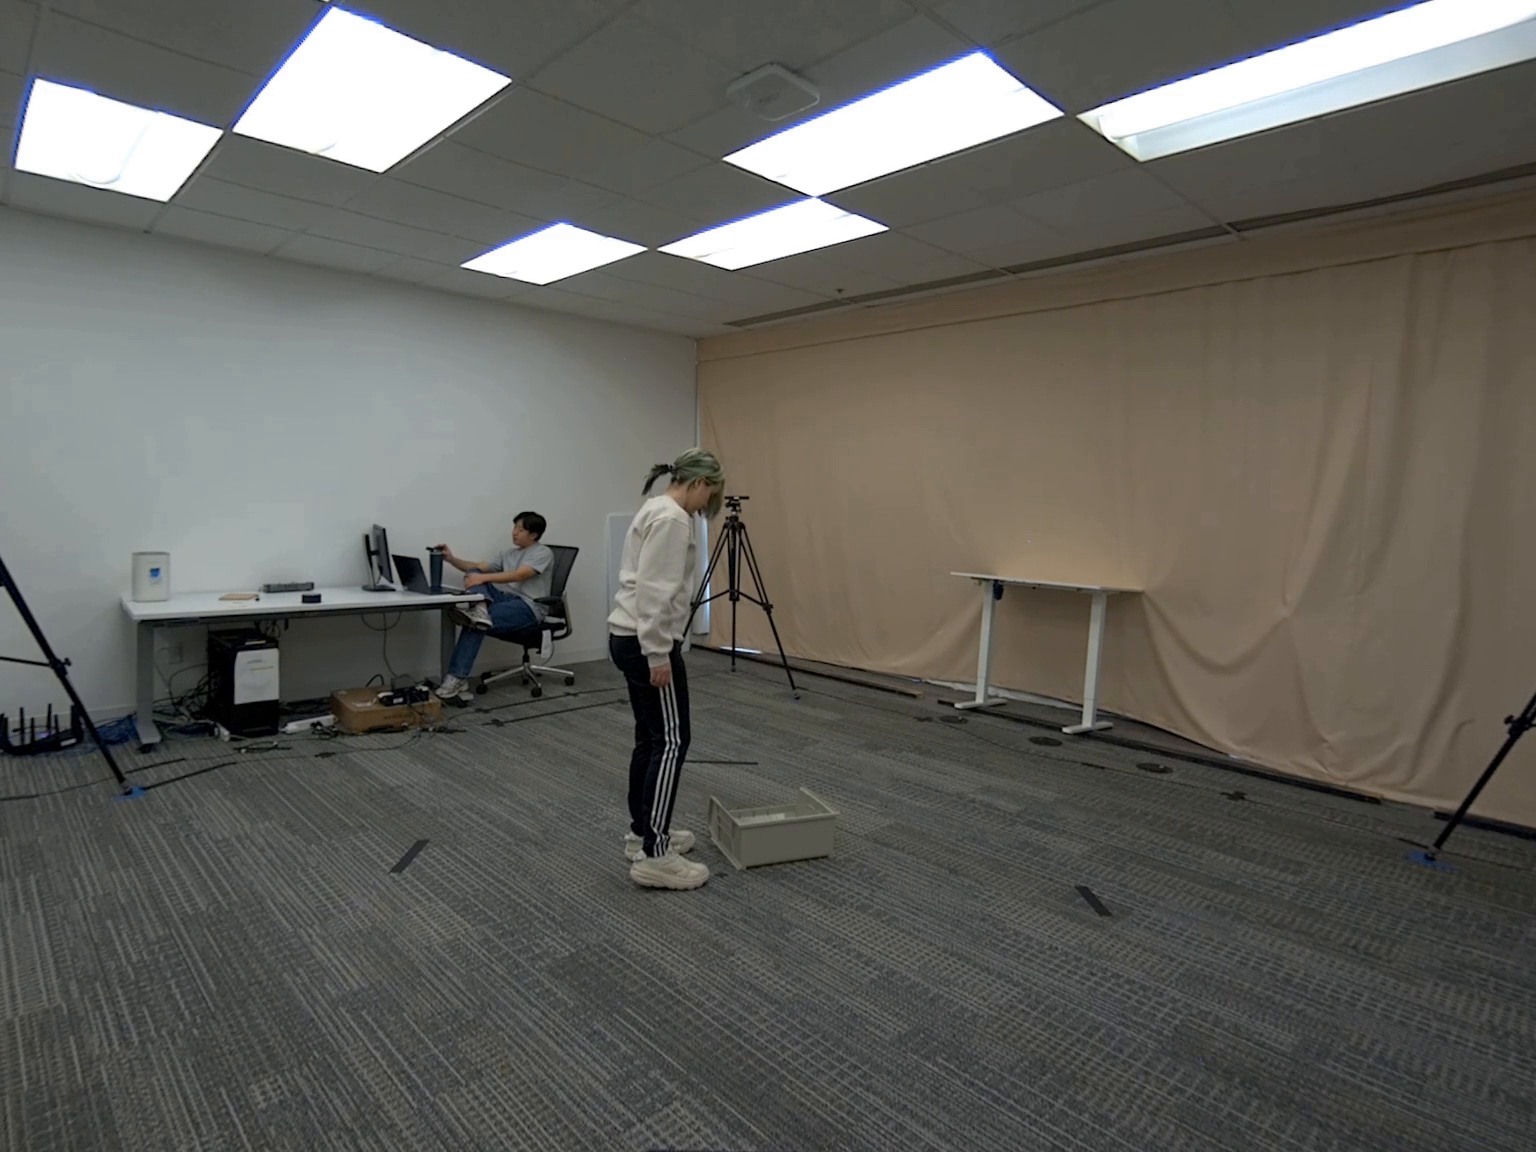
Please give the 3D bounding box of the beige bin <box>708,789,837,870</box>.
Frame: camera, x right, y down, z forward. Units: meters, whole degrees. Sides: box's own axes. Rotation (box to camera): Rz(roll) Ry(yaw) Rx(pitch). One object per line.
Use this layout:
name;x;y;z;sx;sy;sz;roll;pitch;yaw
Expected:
beige bin;0.001;0.993;3.375;0.415;0.188;0.385;0;6;-22
